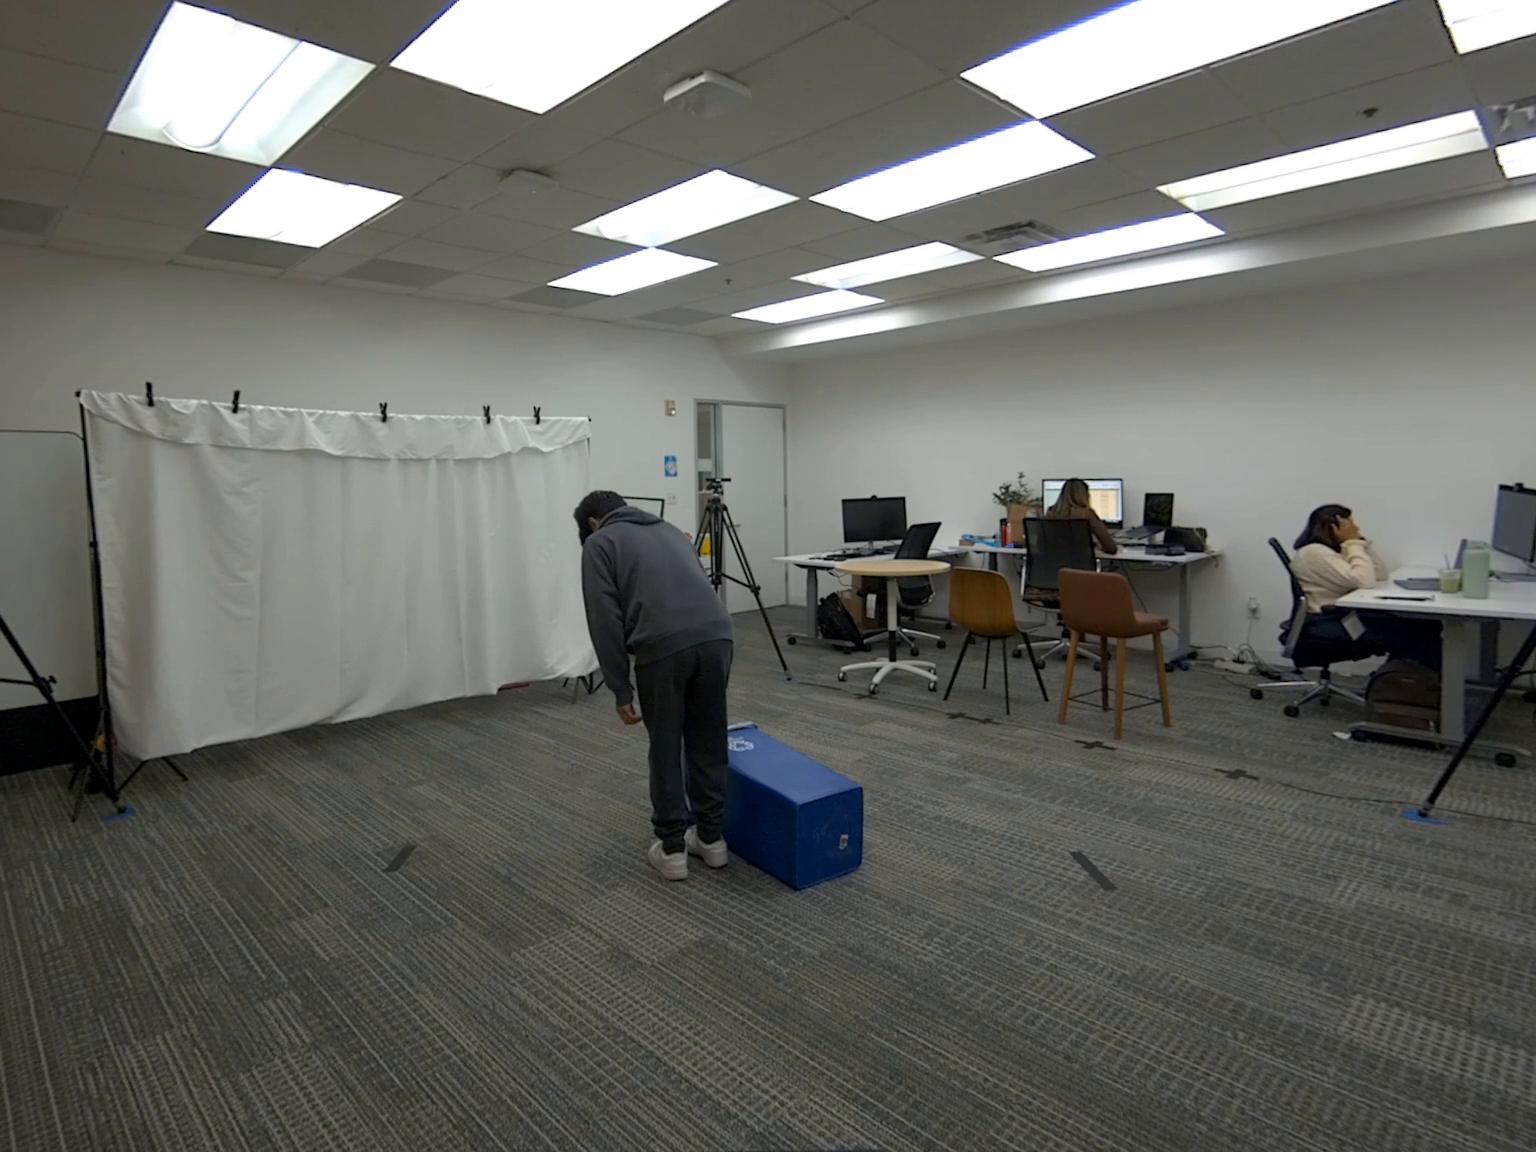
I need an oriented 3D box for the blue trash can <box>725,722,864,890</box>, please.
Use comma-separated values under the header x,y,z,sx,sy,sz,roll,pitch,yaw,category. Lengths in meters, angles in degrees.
x,y,z,sx,sy,sz,roll,pitch,yaw,category
0.012,0.854,3.247,0.365,0.376,0.736,-4,10,-35,blue trash can
